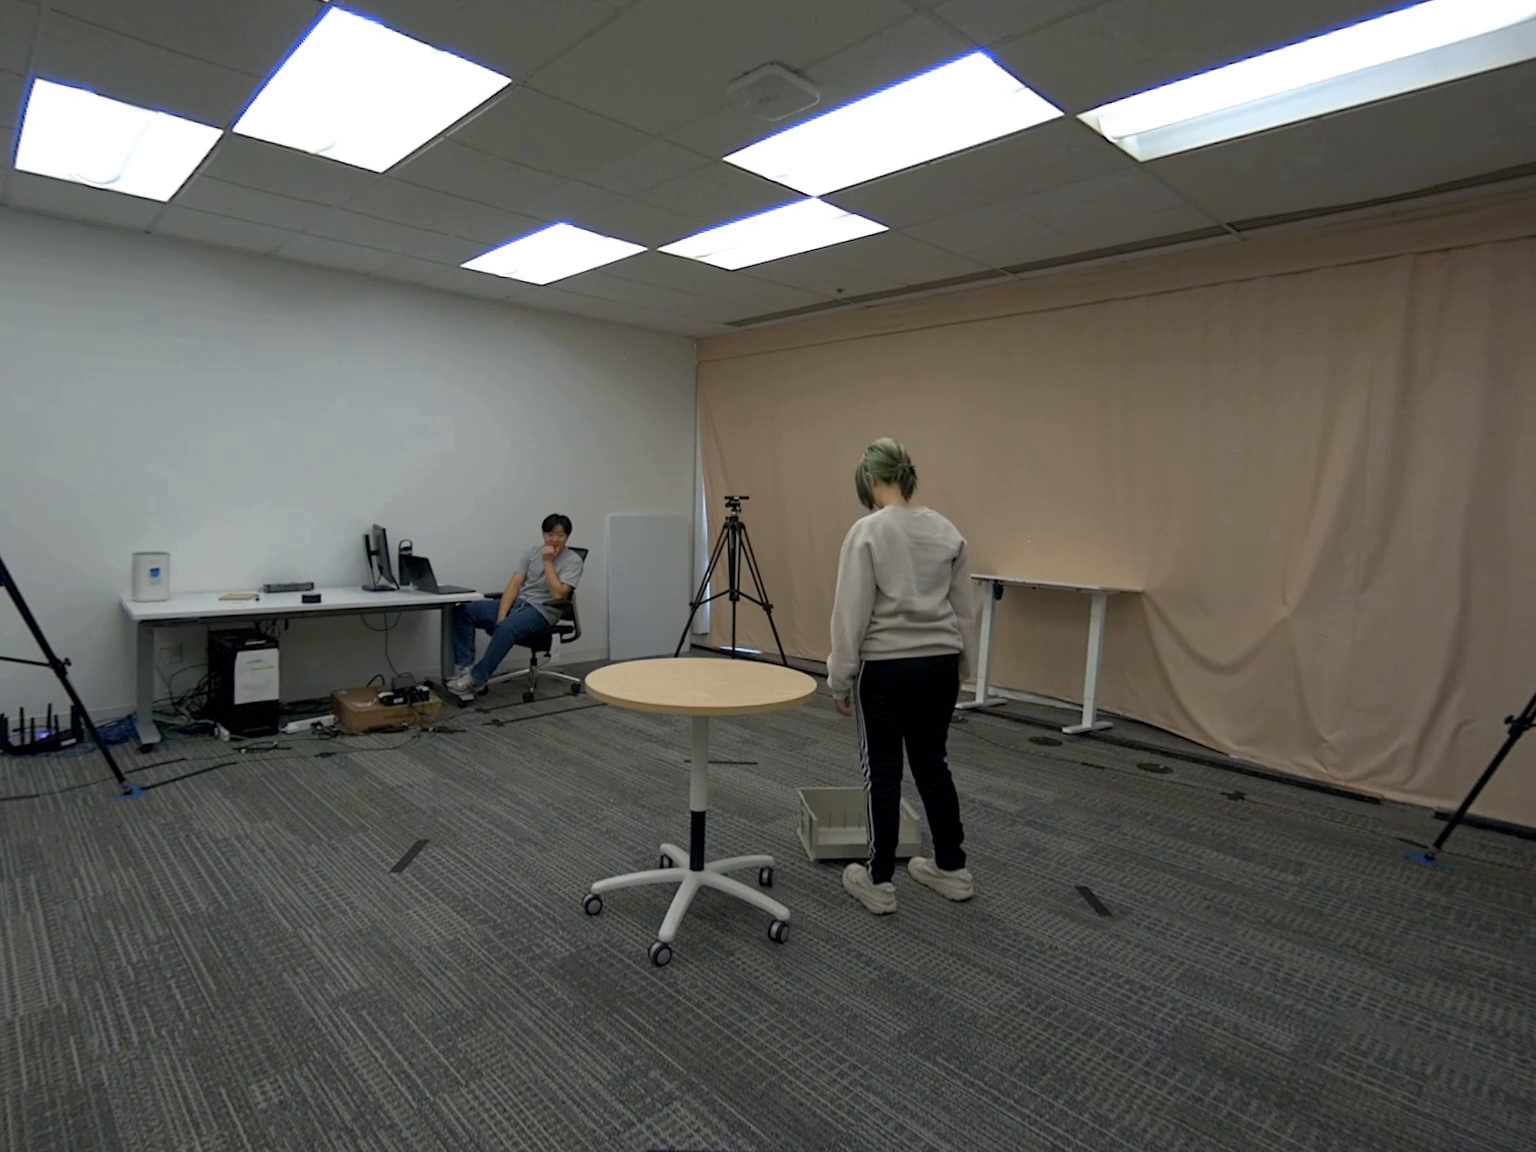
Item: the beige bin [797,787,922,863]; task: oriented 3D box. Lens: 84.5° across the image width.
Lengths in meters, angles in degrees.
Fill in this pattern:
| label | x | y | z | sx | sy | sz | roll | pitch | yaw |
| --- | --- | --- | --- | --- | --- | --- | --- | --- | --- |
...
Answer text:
| label | x | y | z | sx | sy | sz | roll | pitch | yaw |
| --- | --- | --- | --- | --- | --- | --- | --- | --- | --- |
| beige bin | 0.348 | 1.004 | 3.385 | 0.420 | 0.188 | 0.381 | 0 | 4 | -8 |
